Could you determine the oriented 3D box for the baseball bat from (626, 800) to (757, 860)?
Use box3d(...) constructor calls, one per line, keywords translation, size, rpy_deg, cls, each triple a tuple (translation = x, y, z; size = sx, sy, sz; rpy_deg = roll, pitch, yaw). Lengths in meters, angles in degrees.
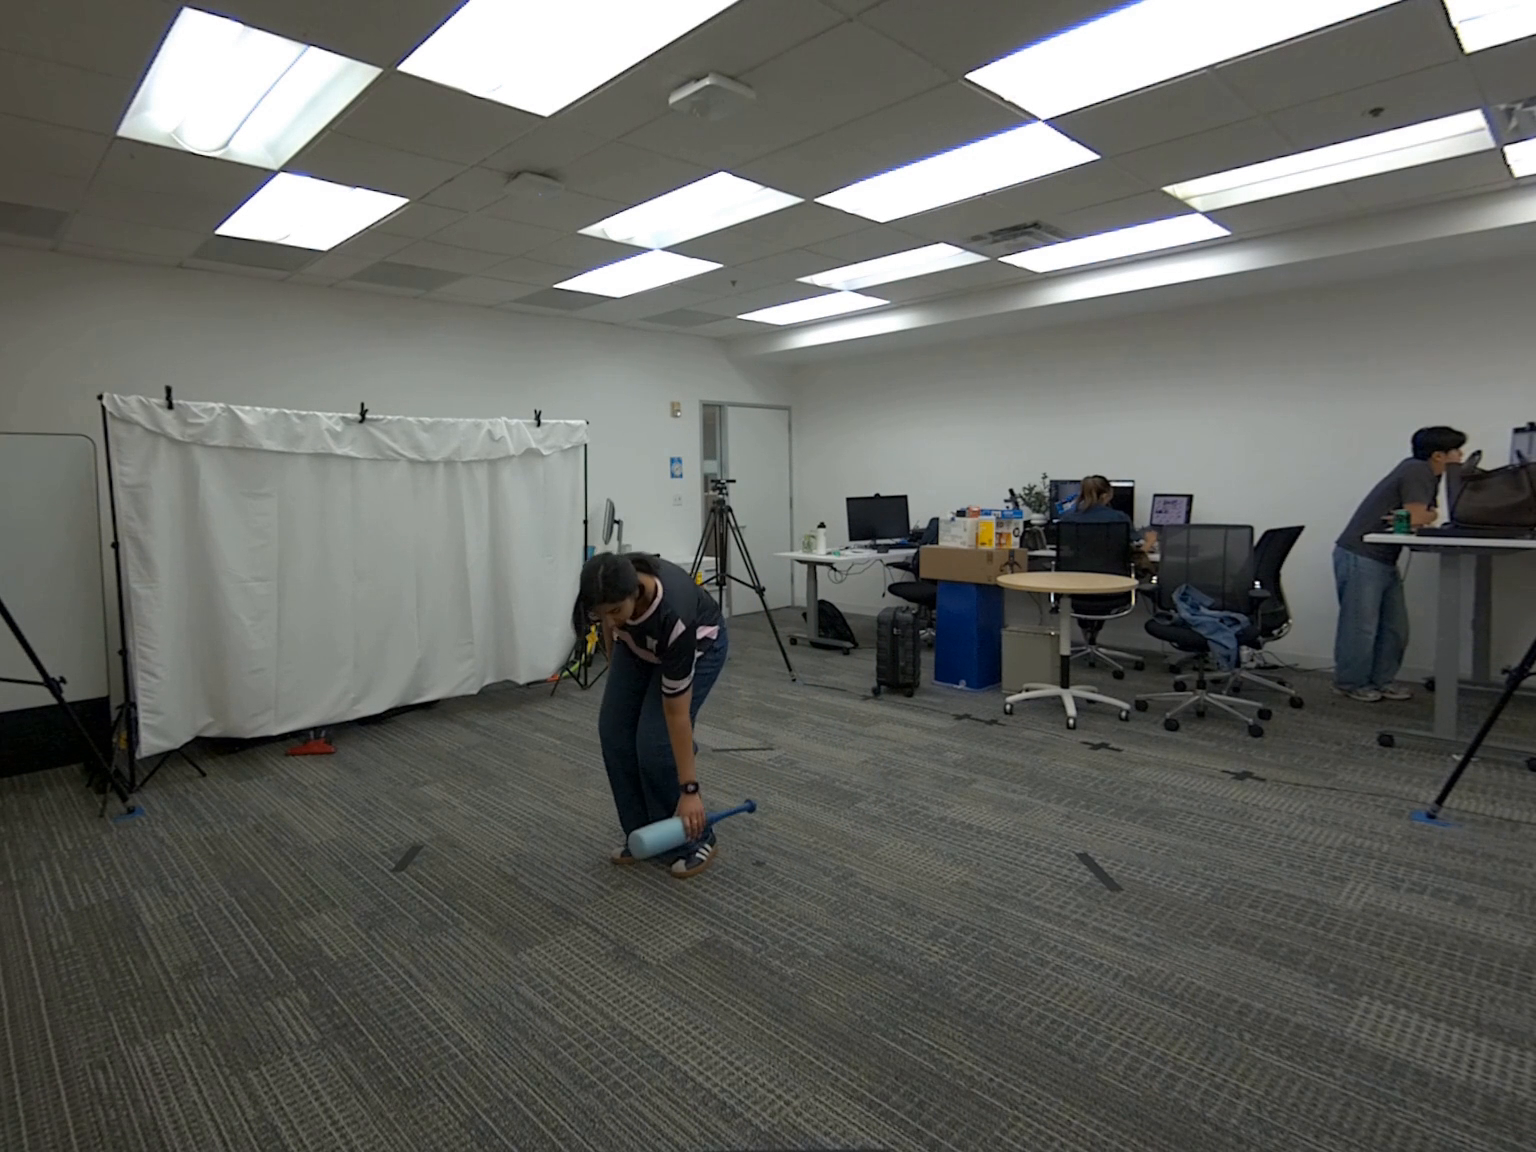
box3d(translation=(-0.238, 0.816, 2.810), size=(0.092, 0.089, 0.527), rpy_deg=(4, 2, 44), cls="baseball bat")
